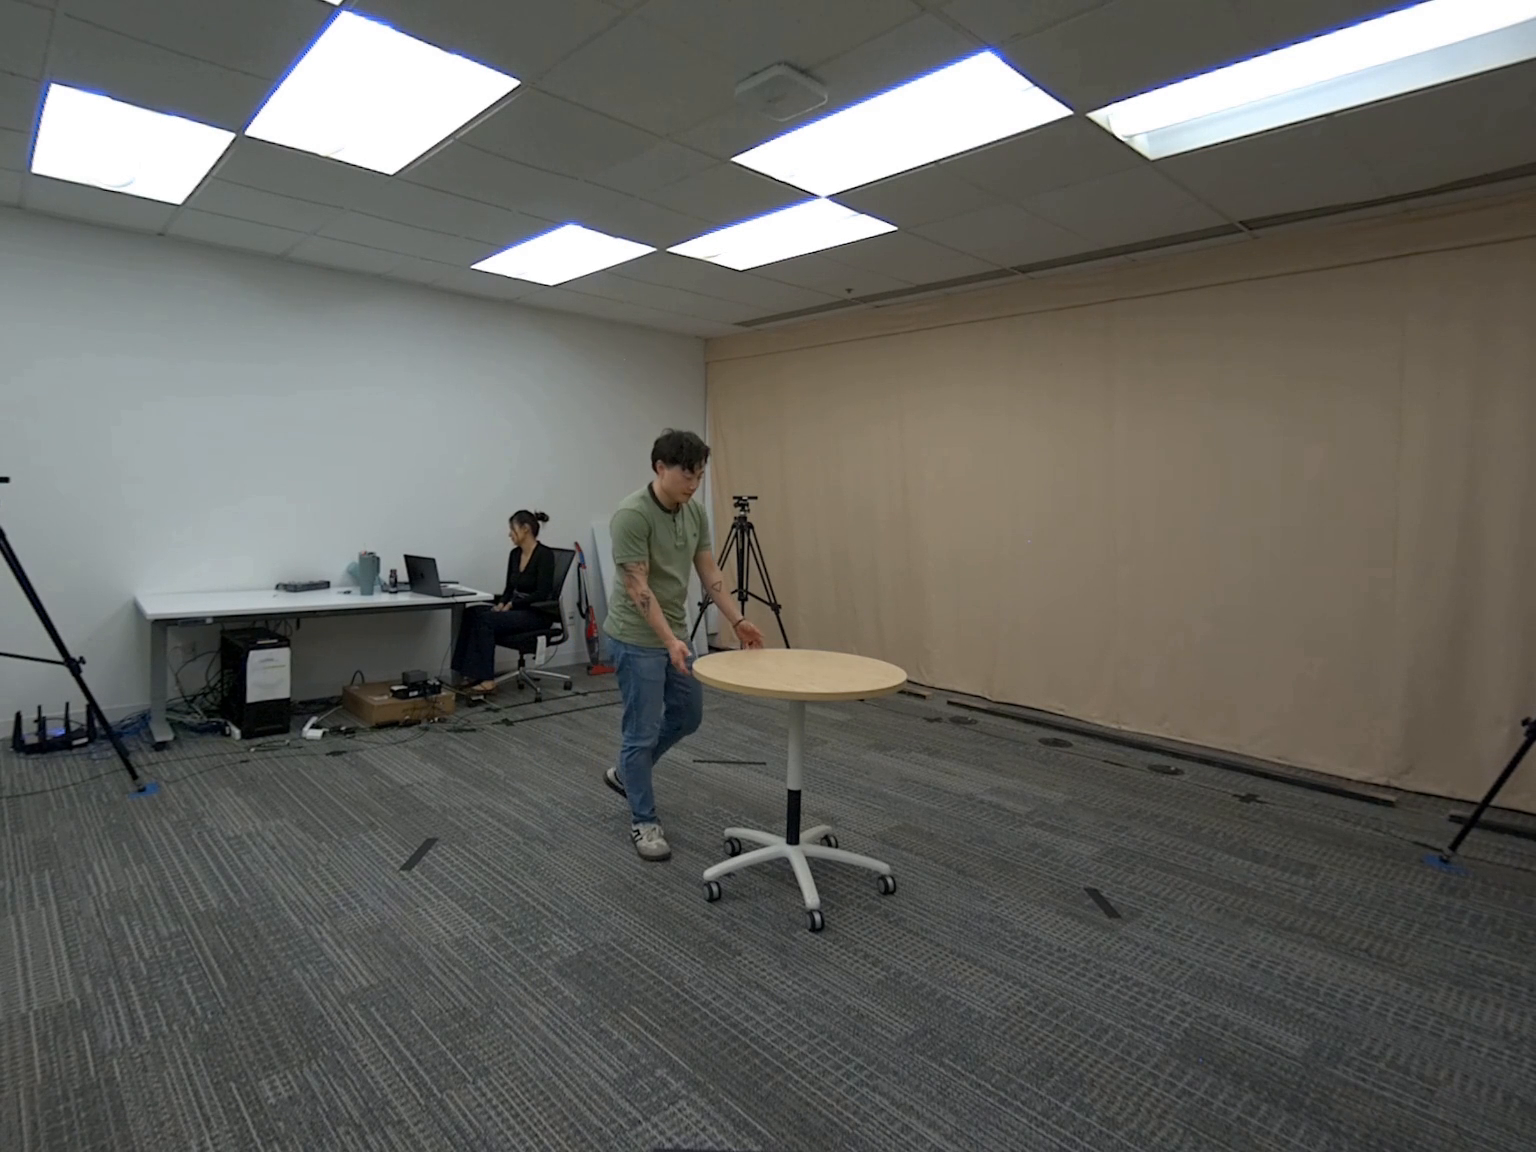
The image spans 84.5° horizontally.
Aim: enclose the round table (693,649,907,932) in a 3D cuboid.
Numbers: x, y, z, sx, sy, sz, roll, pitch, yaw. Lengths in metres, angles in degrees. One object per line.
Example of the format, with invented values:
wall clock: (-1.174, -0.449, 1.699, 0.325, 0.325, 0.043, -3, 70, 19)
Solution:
round table: (0.088, 0.725, 3.040, 0.763, 0.792, 0.766, 2, 4, -1)
